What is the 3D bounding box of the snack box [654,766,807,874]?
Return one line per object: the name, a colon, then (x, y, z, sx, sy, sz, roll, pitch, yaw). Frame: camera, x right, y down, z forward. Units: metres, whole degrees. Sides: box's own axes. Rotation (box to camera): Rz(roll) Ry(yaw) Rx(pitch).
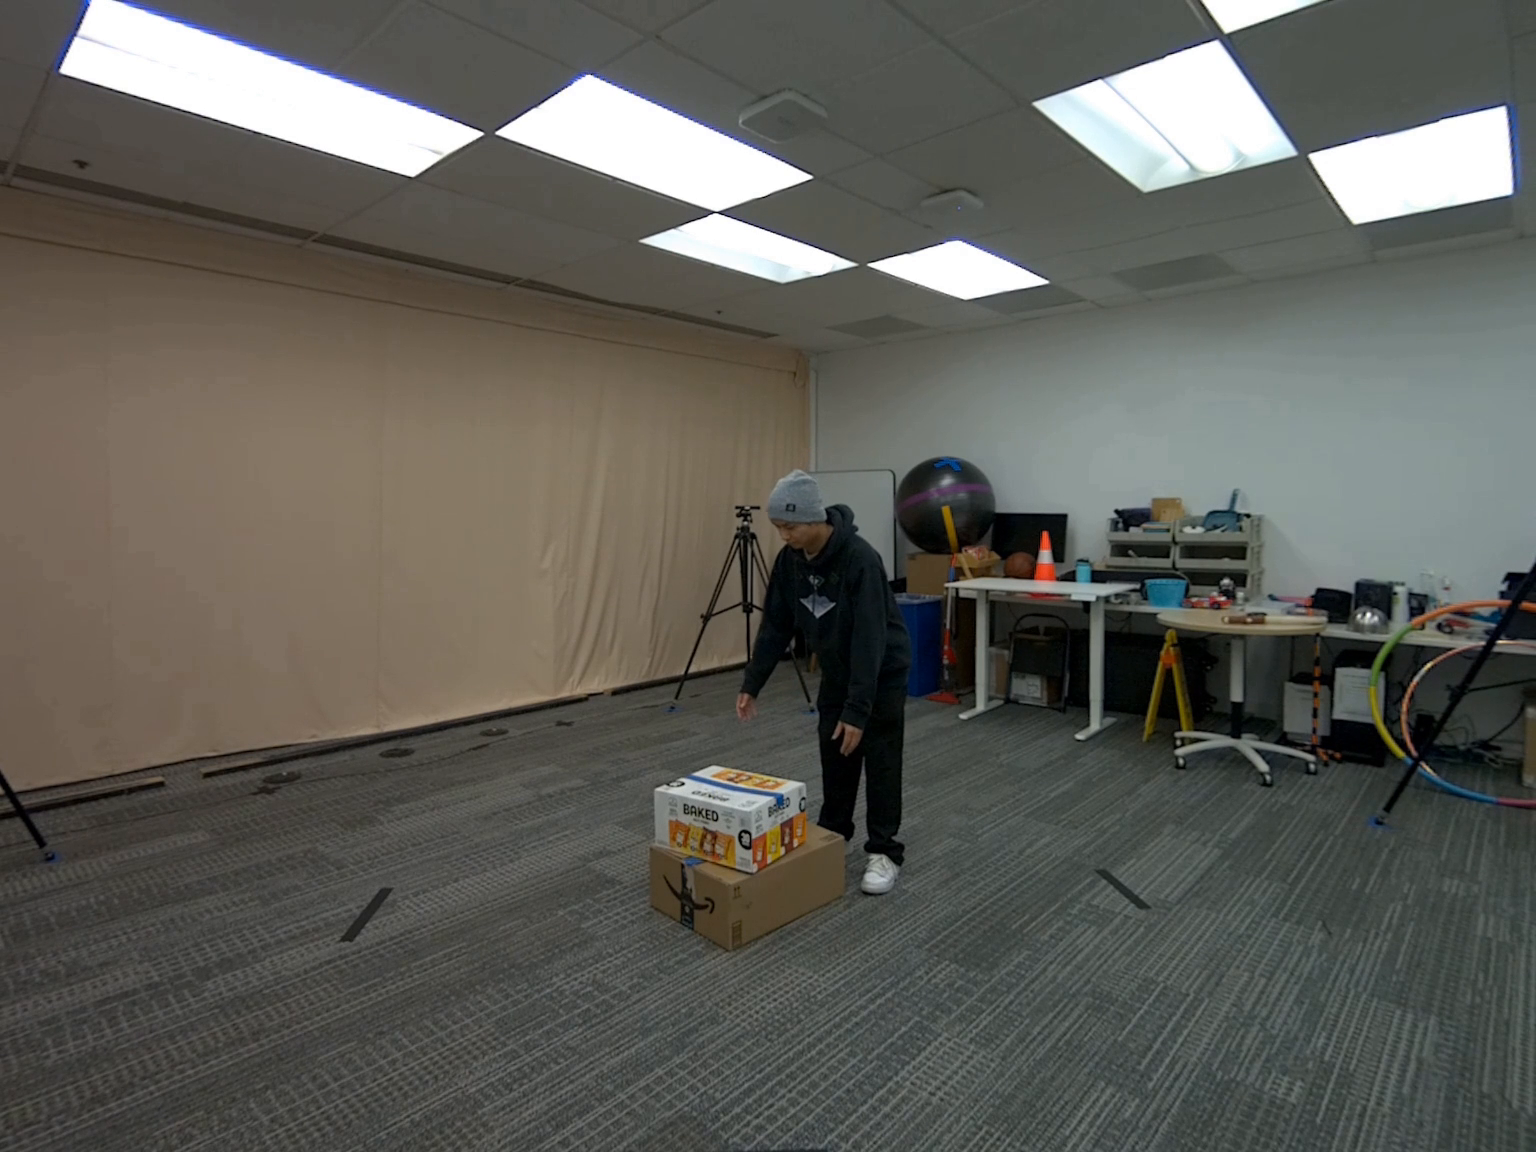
snack box: (-0.126, 0.831, 2.920, 0.418, 0.205, 0.330, 2, 4, 35)
